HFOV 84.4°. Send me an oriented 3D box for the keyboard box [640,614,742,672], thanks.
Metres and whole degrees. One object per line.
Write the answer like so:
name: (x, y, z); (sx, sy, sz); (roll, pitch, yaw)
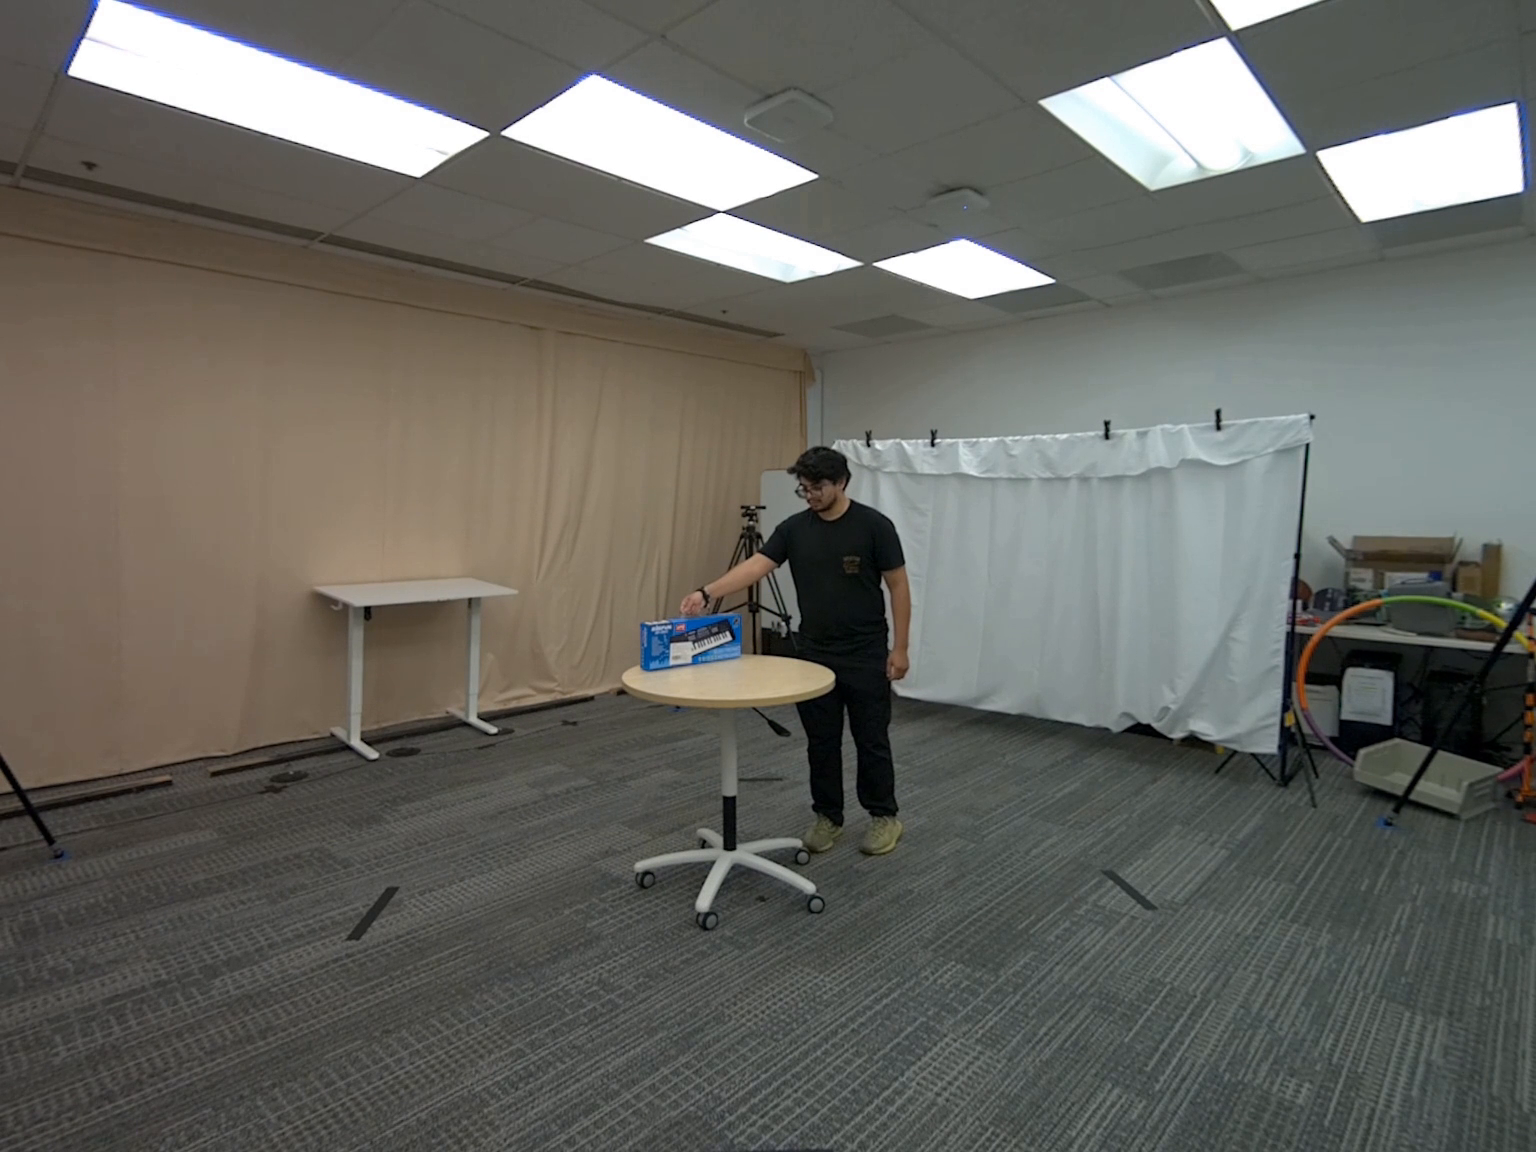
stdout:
keyboard box: (-0.291, 0.251, 3.240); (0.424, 0.175, 0.061); (-4, 7, -38)
